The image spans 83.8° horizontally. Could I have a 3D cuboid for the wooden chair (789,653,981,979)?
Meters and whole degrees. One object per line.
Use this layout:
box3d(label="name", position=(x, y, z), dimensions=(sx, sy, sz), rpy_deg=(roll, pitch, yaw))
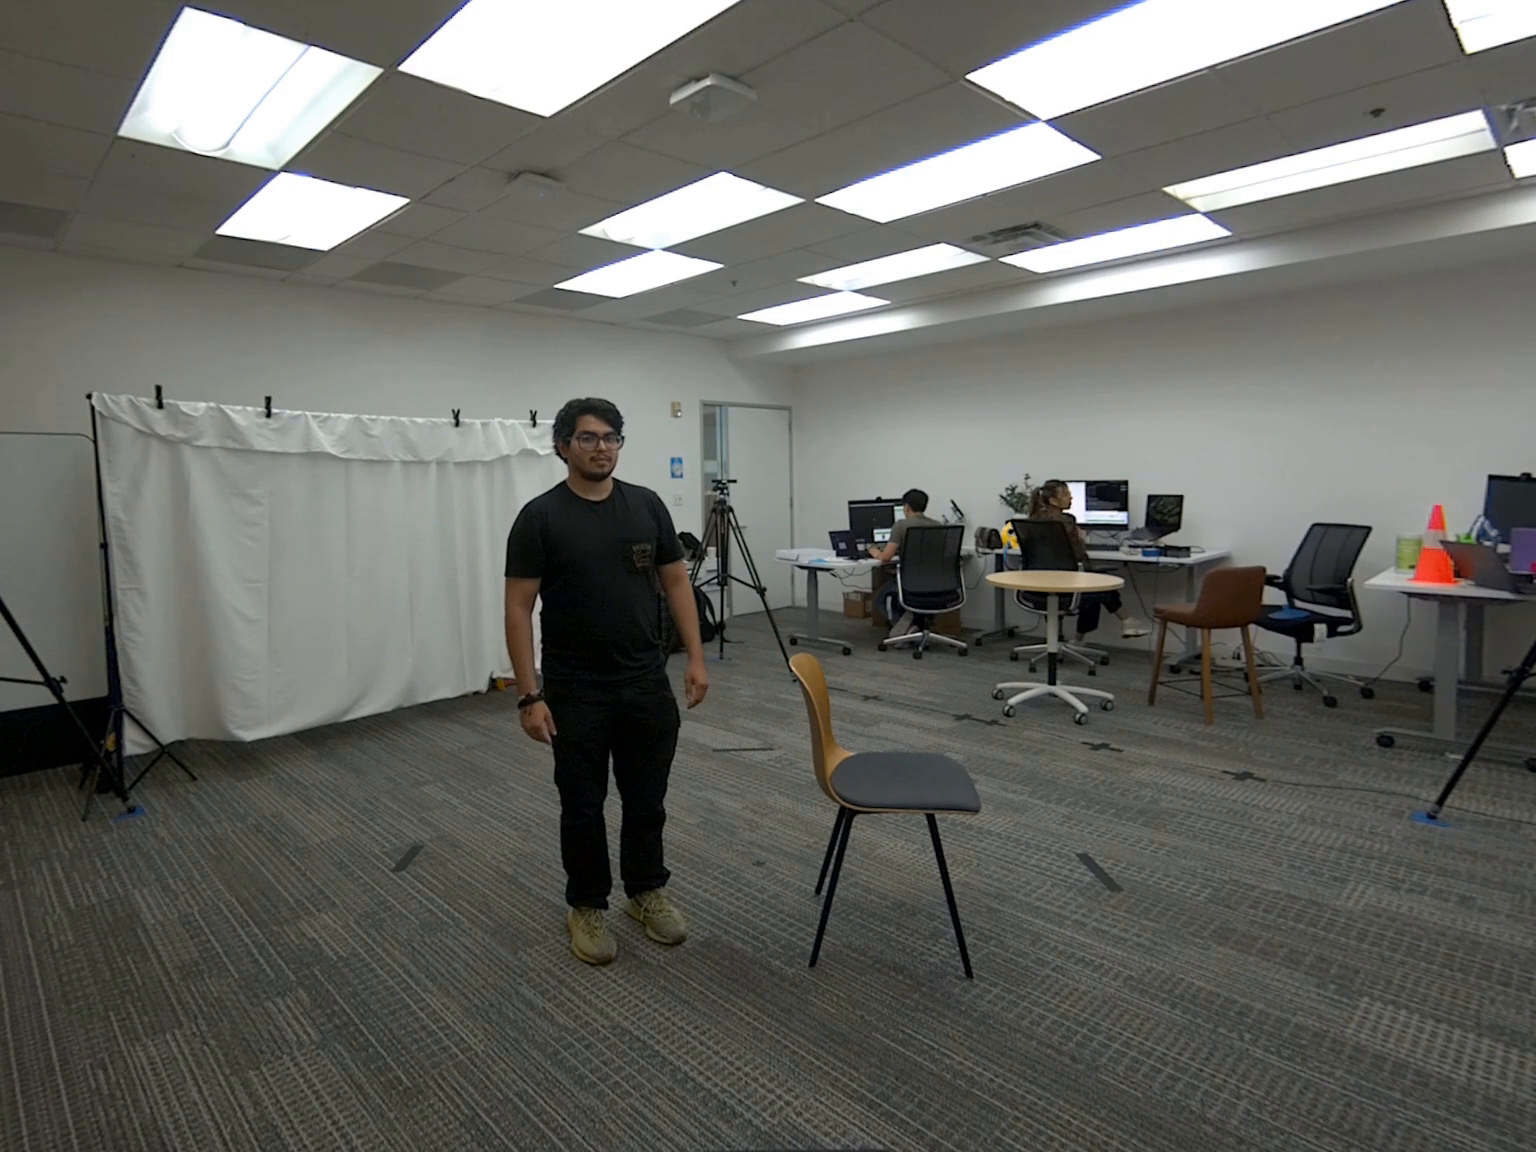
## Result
box3d(label="wooden chair", position=(0.368, 0.671, 2.603), dimensions=(0.527, 0.874, 0.476), rpy_deg=(-4, 4, 7))
